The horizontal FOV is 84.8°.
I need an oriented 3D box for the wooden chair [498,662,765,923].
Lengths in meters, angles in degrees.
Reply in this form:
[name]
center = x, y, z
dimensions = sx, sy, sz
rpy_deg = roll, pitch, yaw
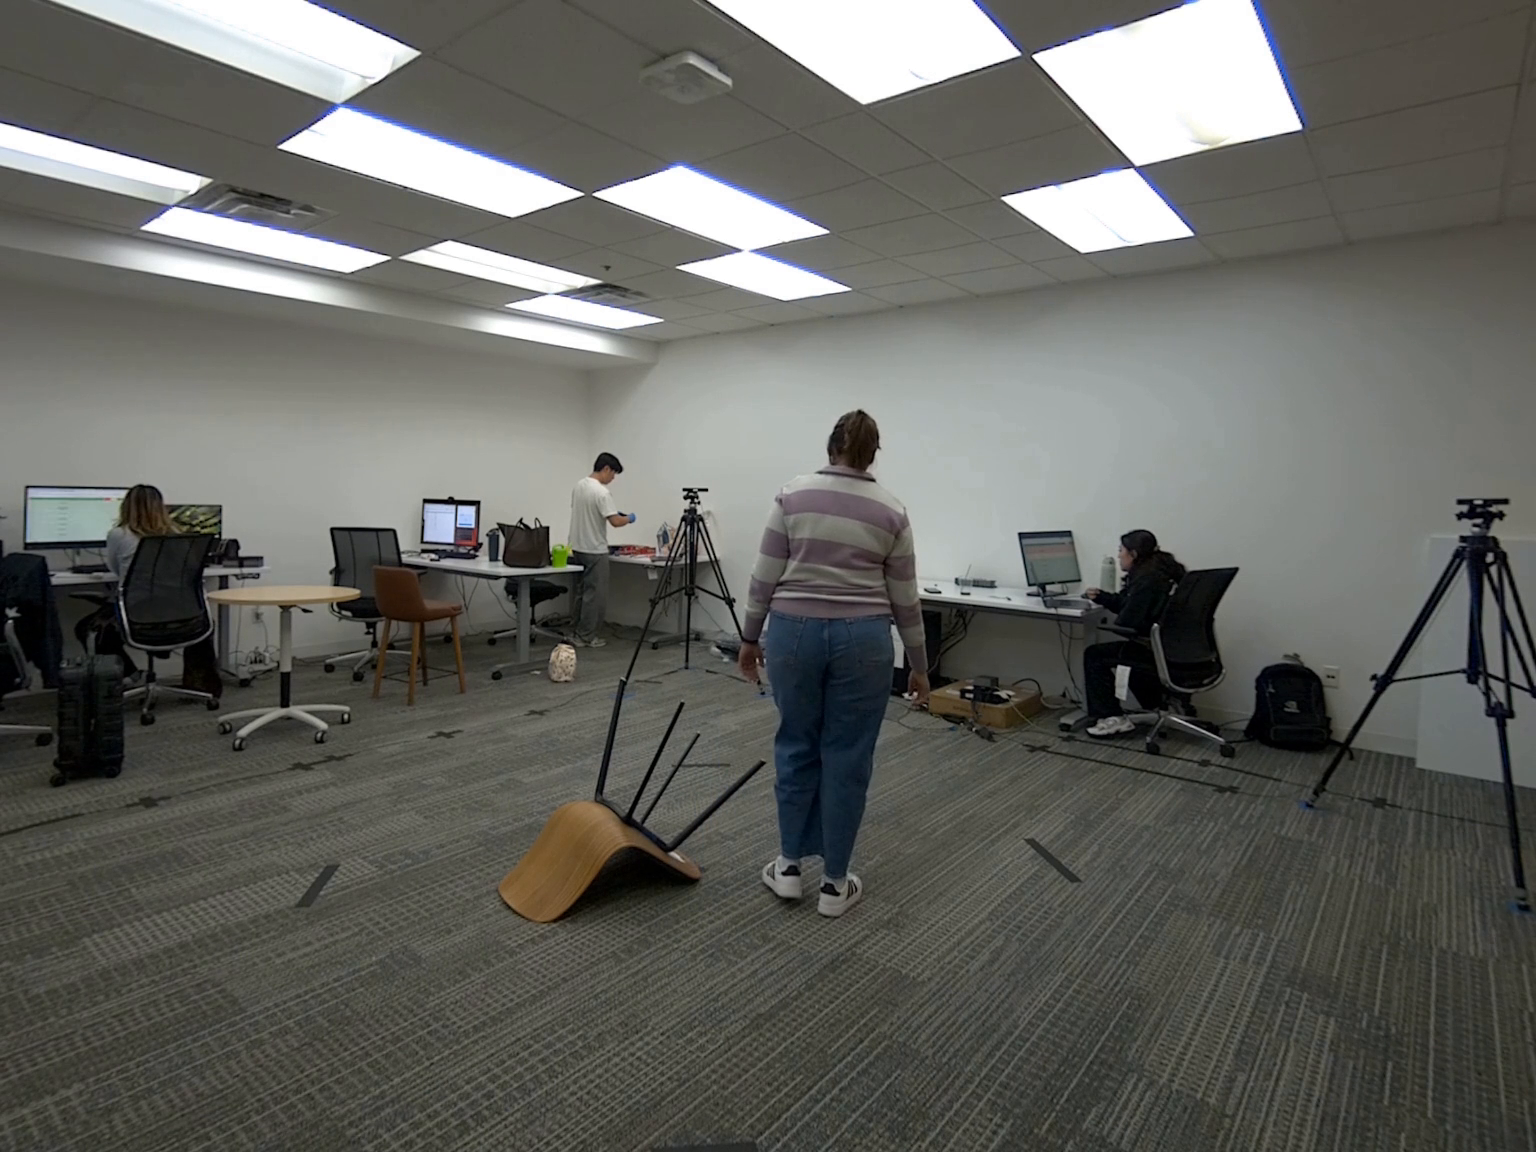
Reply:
[wooden chair]
center = -0.493, 0.897, 3.075
dimensions = 0.505, 0.880, 0.494
rpy_deg = 46, -23, -30
